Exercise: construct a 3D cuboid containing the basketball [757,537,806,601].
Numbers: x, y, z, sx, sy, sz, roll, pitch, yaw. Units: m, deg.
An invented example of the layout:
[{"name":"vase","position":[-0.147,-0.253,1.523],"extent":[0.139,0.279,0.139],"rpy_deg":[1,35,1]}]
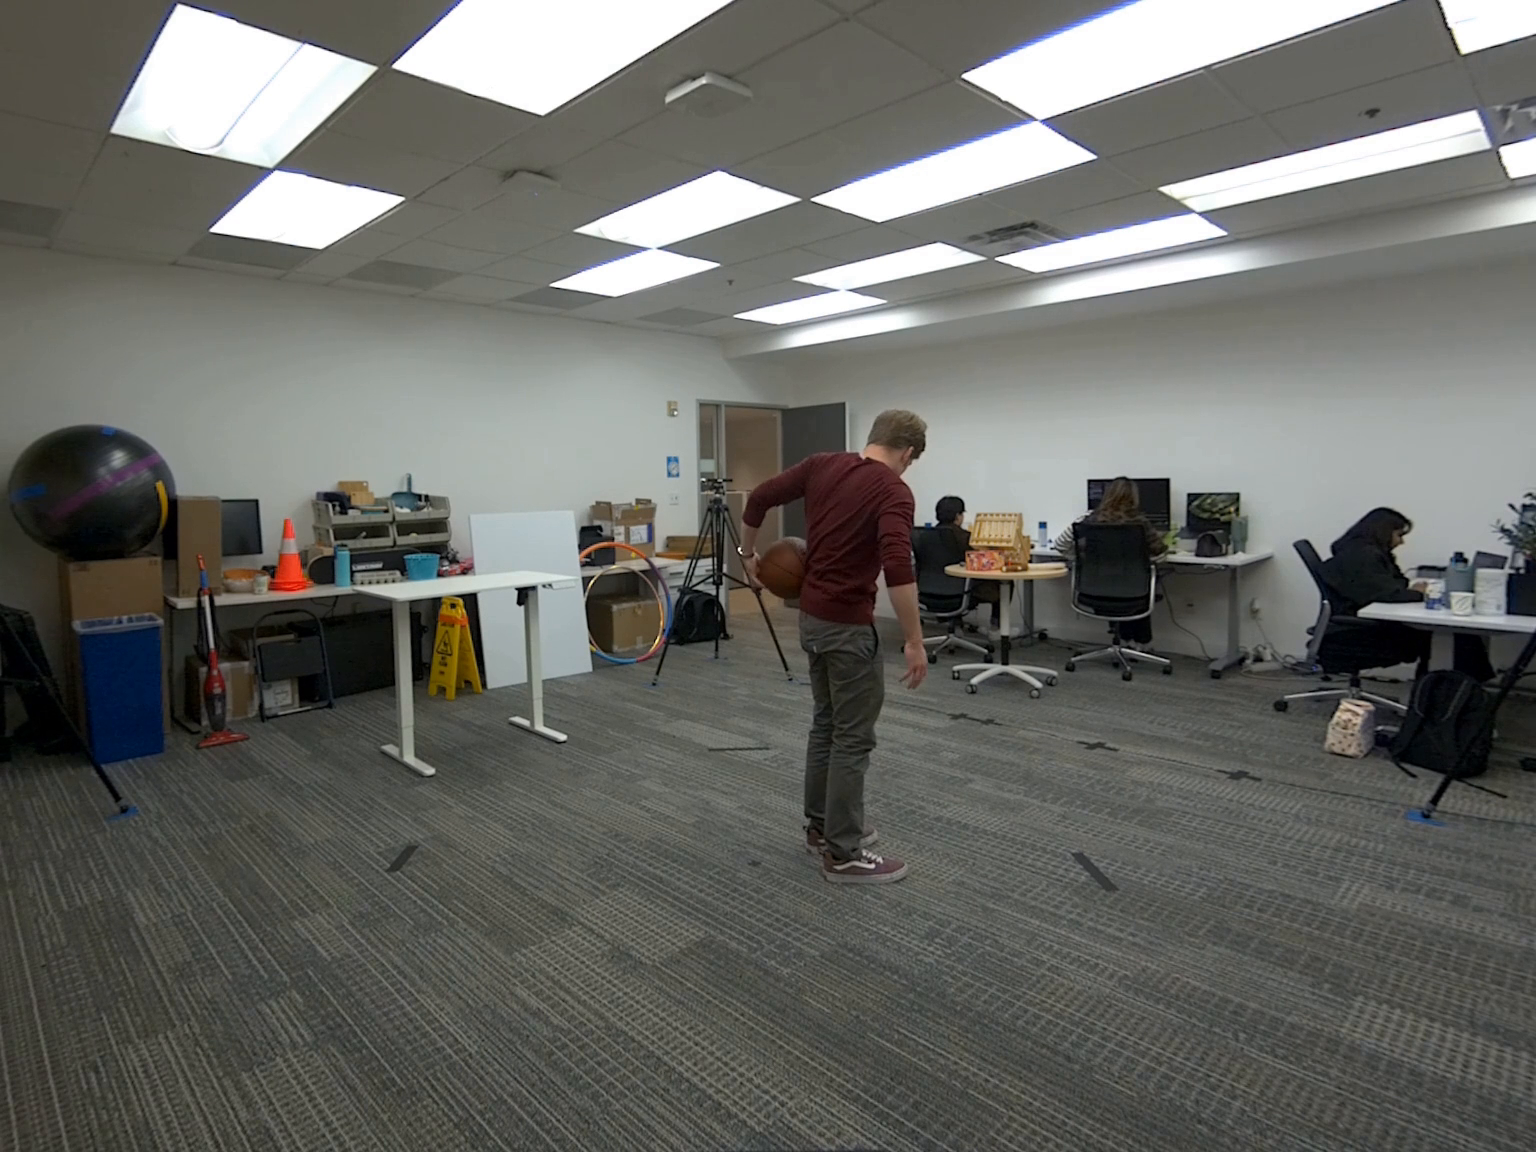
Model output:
[{"name":"basketball","position":[0.085,-0.033,3.251],"extent":[0.236,0.235,0.237],"rpy_deg":[-1,5,-2]}]
